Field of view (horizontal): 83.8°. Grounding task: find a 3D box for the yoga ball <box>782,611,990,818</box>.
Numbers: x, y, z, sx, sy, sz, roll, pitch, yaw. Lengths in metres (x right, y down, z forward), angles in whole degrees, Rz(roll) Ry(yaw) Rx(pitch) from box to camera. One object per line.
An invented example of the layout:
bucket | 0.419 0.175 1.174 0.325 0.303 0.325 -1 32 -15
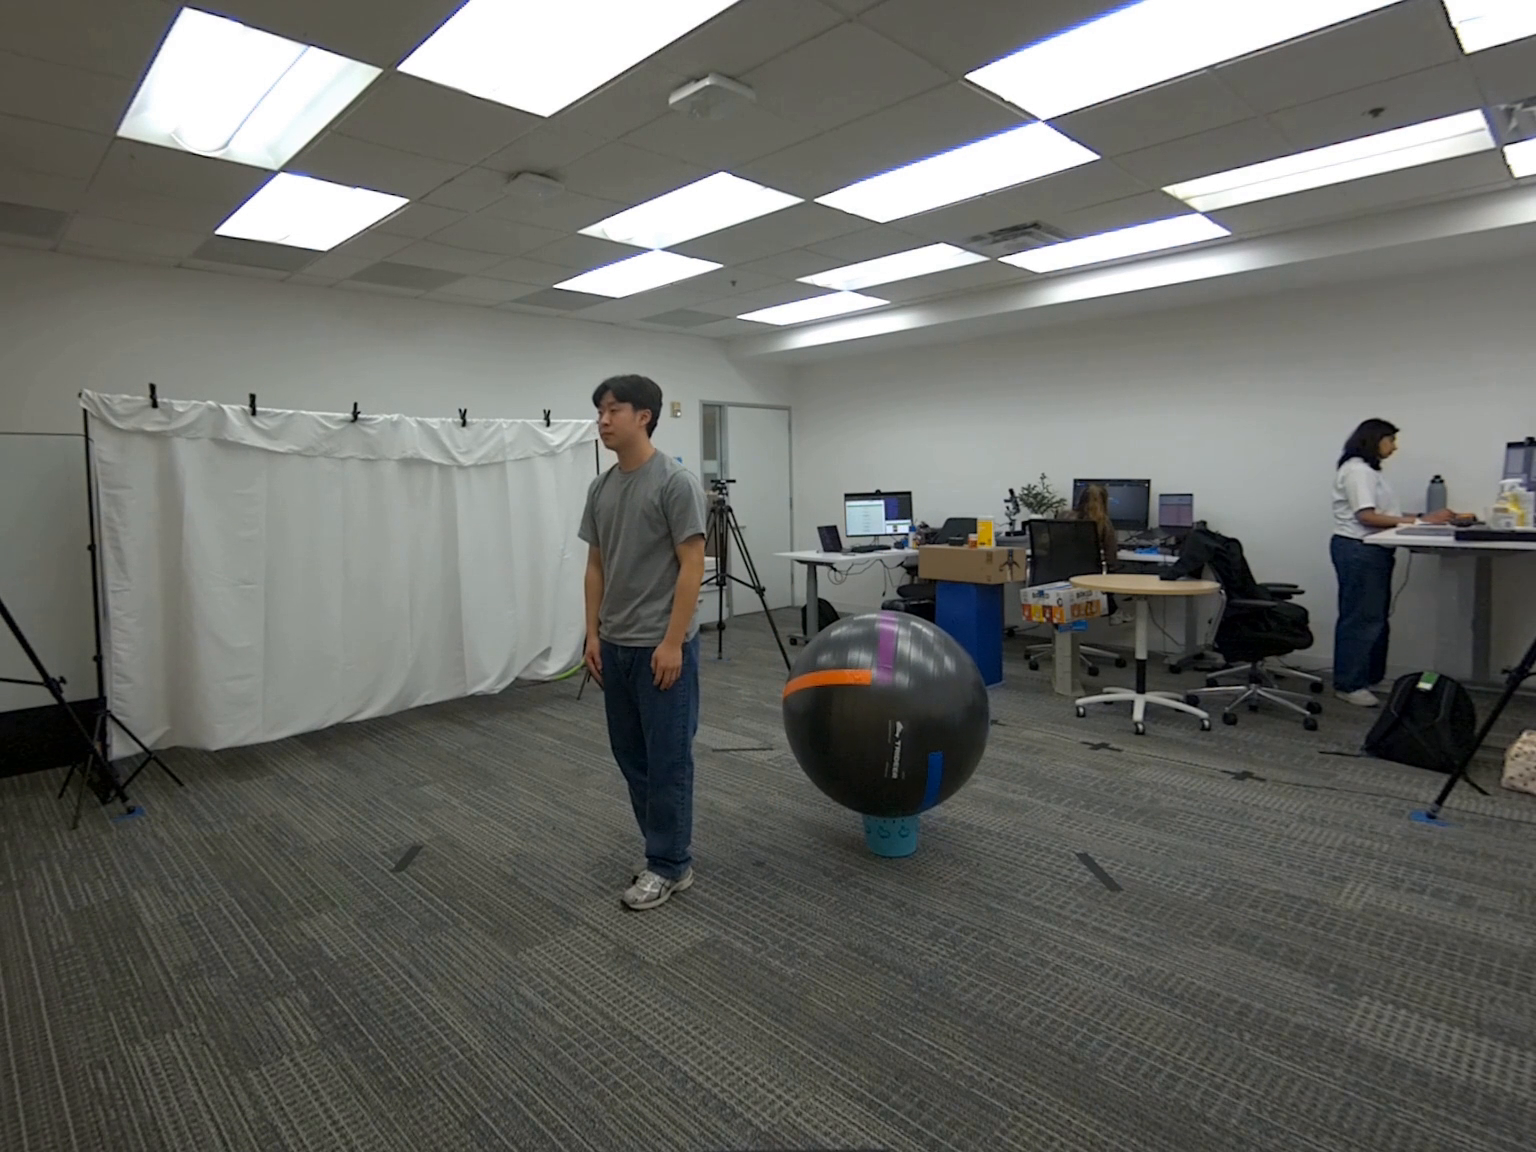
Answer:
yoga ball | 0.450 0.517 3.214 0.757 0.755 0.762 -1 5 -2
